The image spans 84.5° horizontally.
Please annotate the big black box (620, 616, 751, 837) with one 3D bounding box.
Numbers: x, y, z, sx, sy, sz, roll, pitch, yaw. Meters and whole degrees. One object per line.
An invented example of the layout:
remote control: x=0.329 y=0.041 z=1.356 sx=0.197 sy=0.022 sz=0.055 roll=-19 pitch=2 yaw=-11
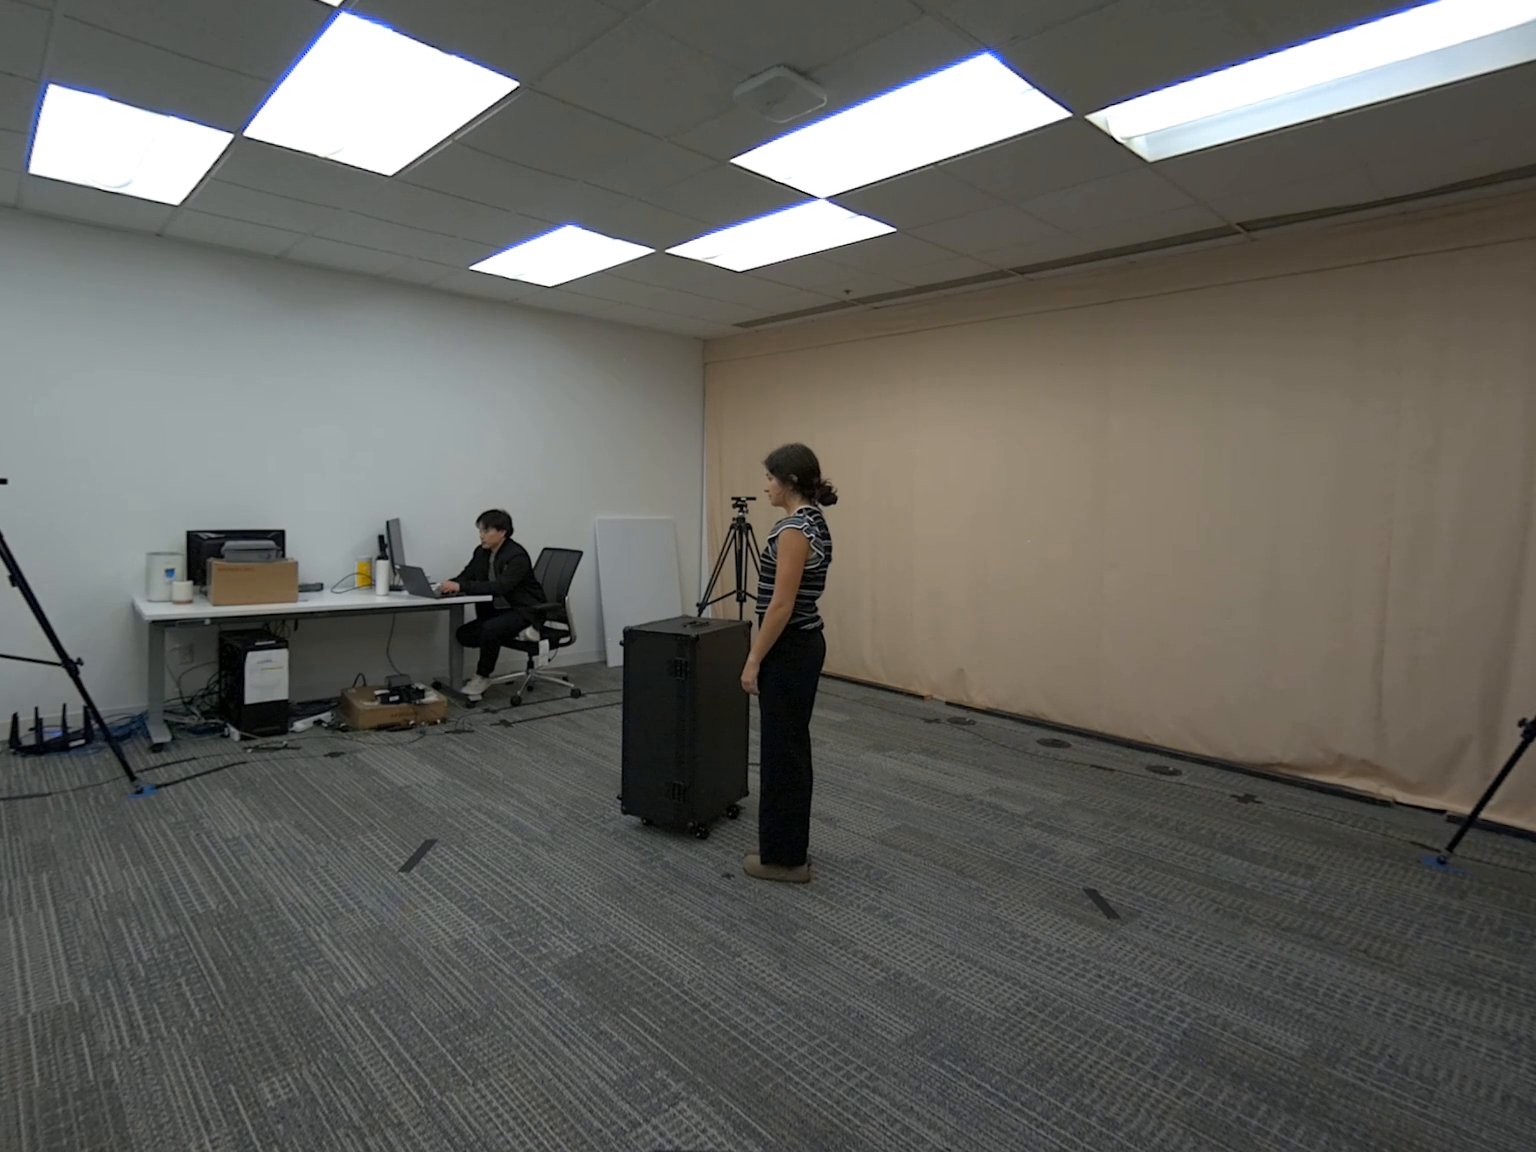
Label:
big black box: x=-0.360 y=0.633 z=3.623 sx=0.404 sy=0.860 sz=0.512 roll=2 pitch=2 yaw=26
